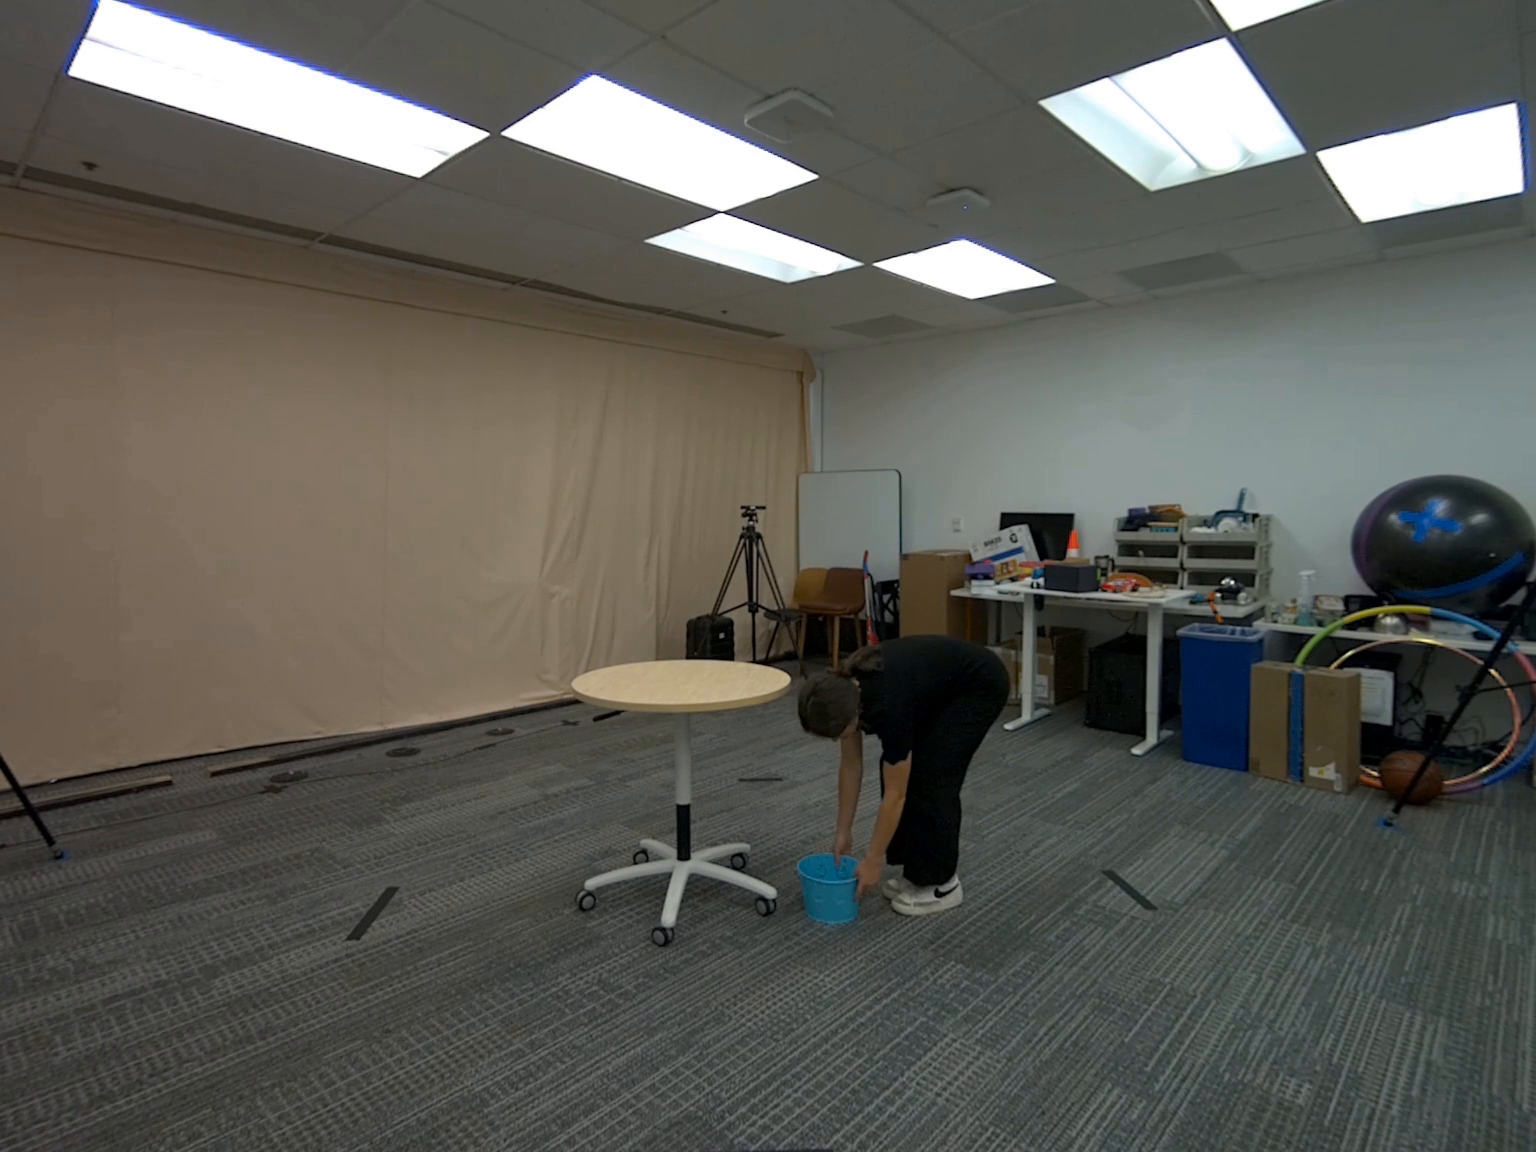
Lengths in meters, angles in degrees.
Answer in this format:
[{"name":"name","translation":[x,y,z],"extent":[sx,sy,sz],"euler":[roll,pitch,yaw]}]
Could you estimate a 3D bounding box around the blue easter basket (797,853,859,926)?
[{"name":"blue easter basket","translation":[0.233,1.080,2.889],"extent":[0.243,0.155,0.244],"euler":[-2,4,-2]}]
